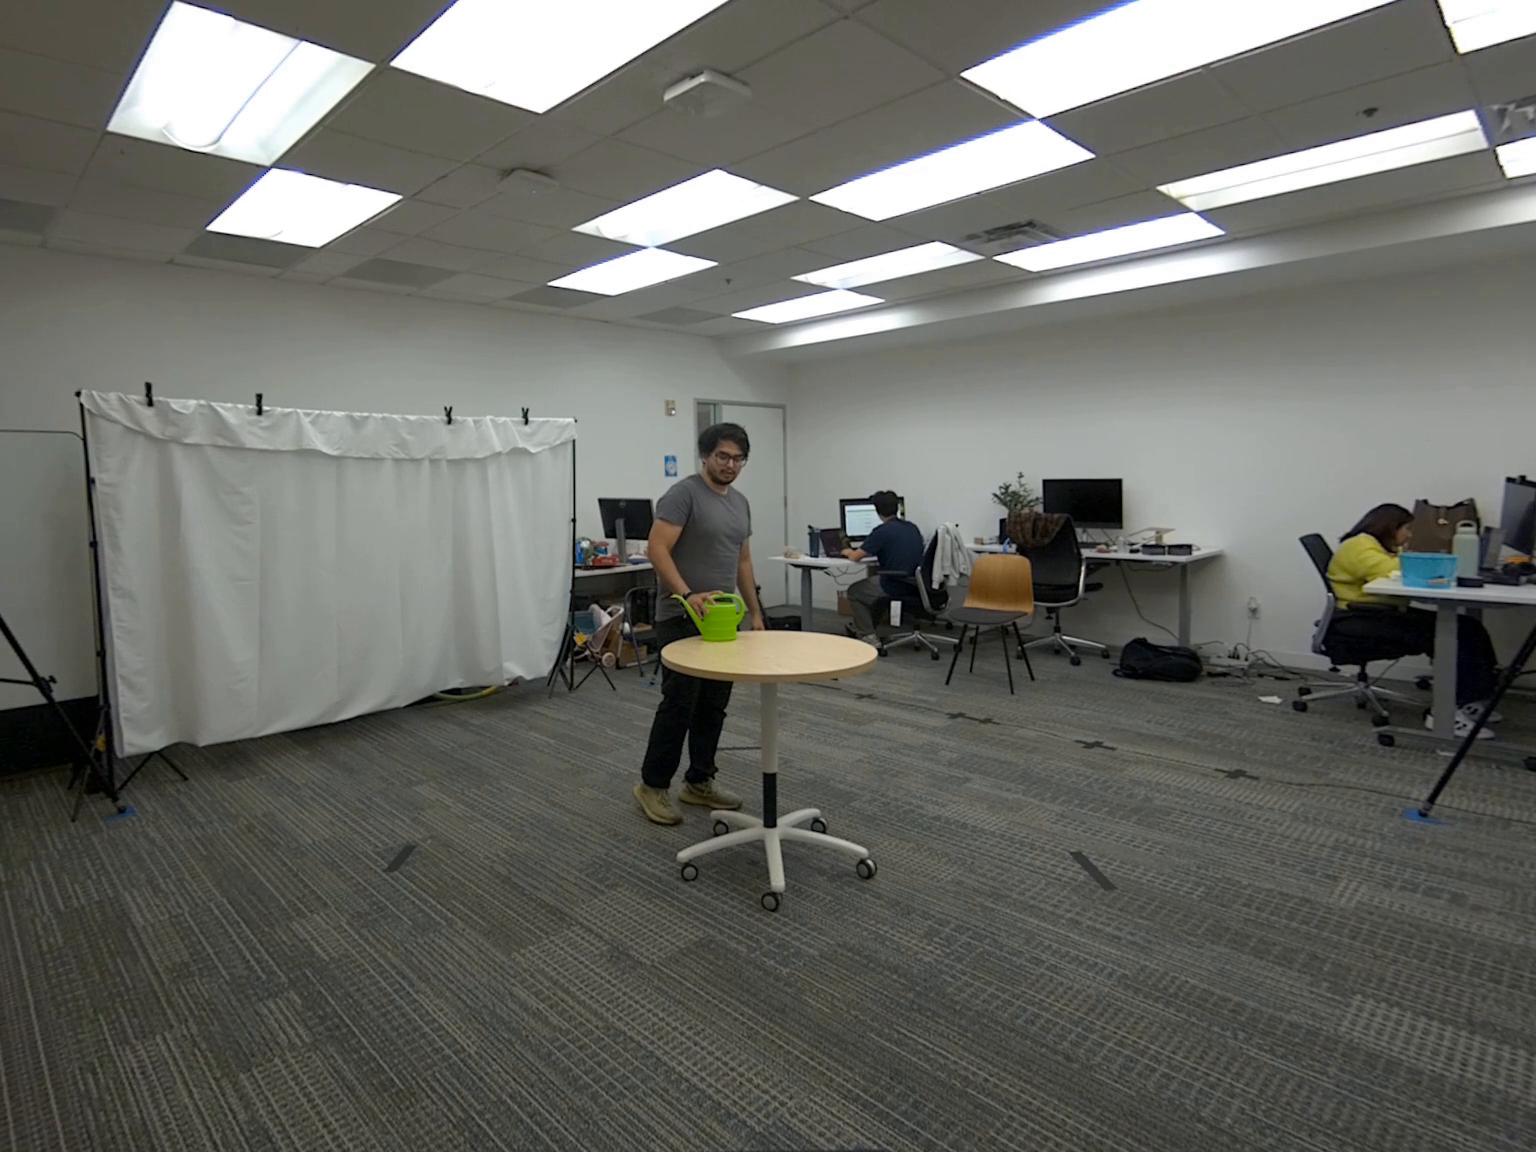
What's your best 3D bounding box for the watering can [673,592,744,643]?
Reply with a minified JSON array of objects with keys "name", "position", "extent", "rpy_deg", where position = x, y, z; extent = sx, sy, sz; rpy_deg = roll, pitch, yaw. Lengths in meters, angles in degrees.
[{"name":"watering can","position":[-0.224,0.161,3.250],"extent":[0.277,0.176,0.099],"rpy_deg":[4,5,-4]}]
